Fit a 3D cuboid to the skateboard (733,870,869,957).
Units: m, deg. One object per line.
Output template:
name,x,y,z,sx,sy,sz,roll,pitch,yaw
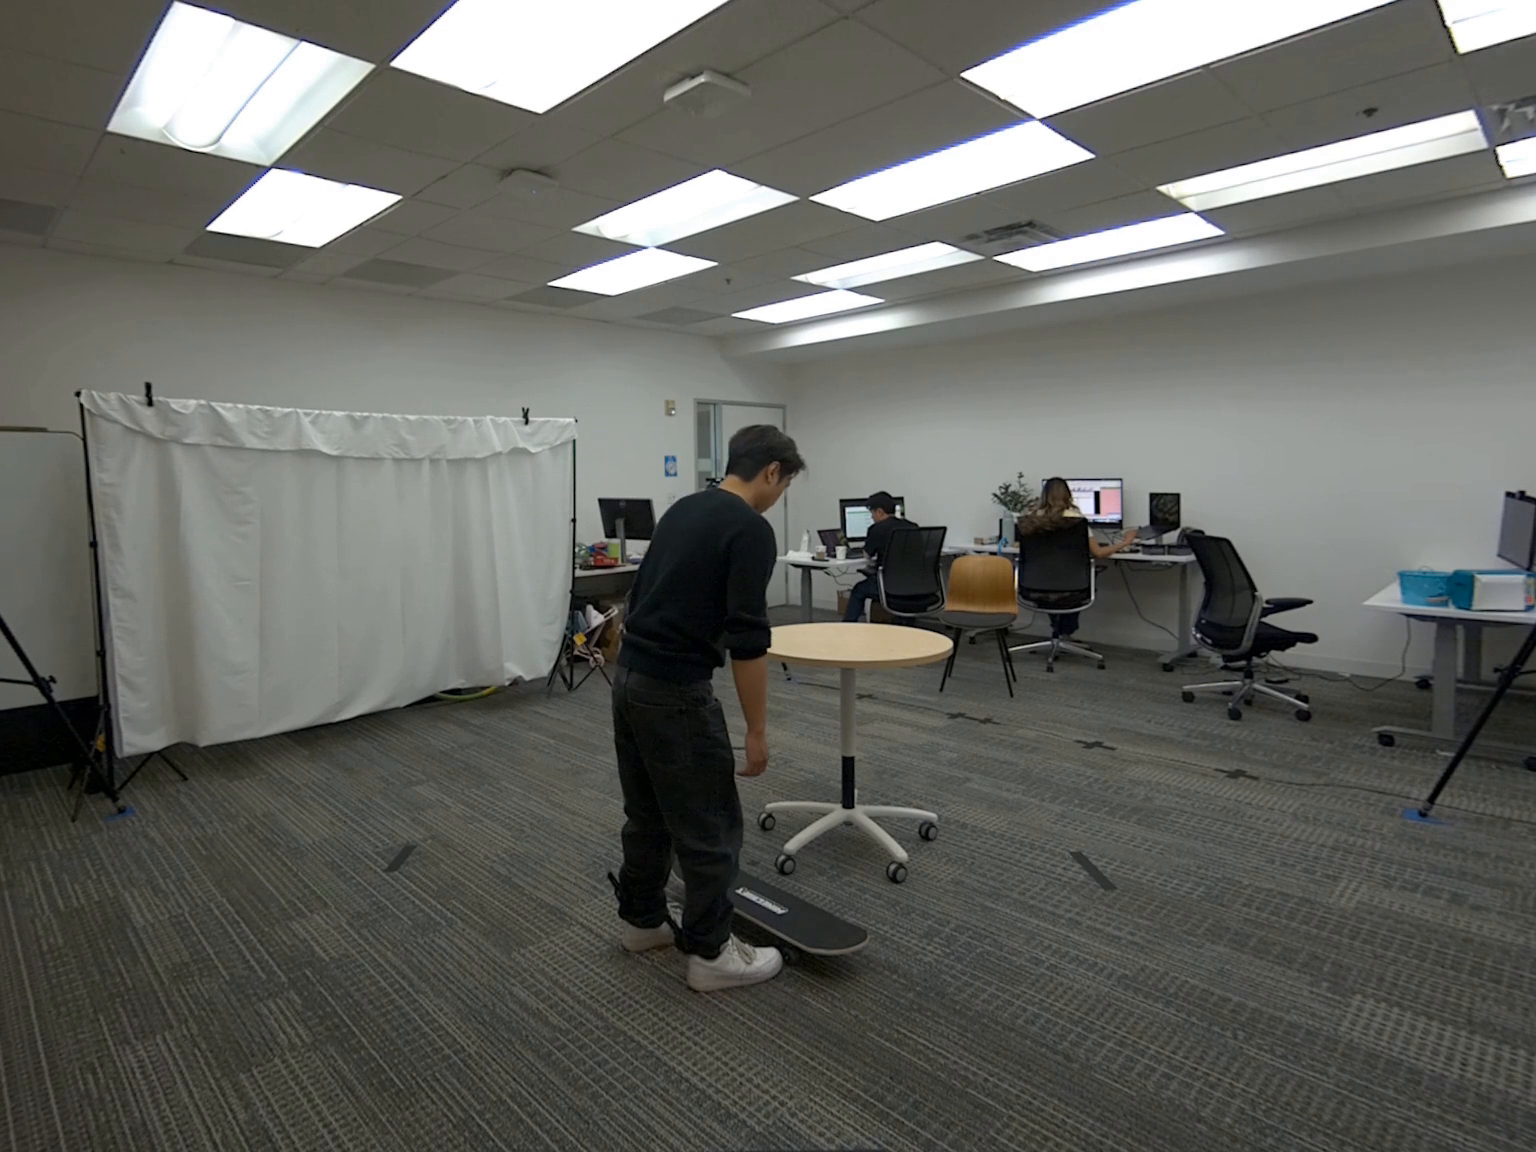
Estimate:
skateboard,-0.017,1.041,2.647,0.188,0.110,0.810,-7,9,-43
